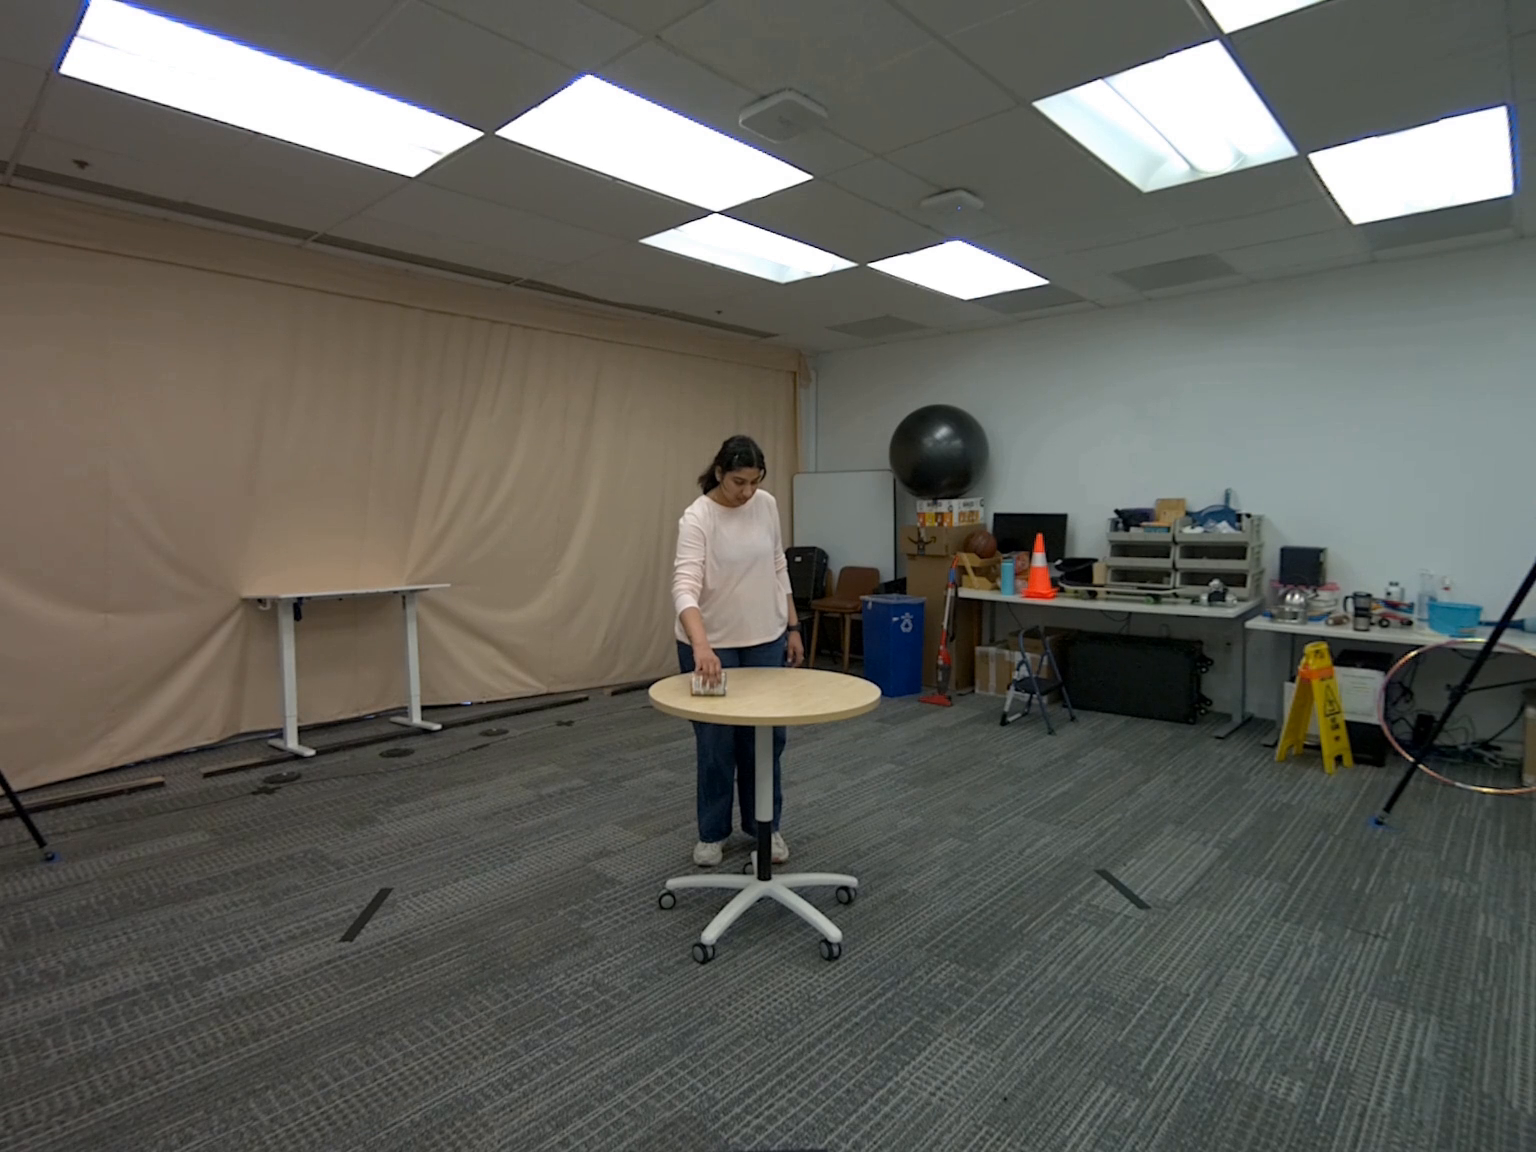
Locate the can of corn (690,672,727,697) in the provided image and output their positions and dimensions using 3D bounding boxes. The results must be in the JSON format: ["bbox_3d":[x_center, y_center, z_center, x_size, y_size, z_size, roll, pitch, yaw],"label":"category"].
[{"bbox_3d":[-0.186,0.347,2.718,0.112,0.074,0.074,1,4,6],"label":"can of corn"}]
